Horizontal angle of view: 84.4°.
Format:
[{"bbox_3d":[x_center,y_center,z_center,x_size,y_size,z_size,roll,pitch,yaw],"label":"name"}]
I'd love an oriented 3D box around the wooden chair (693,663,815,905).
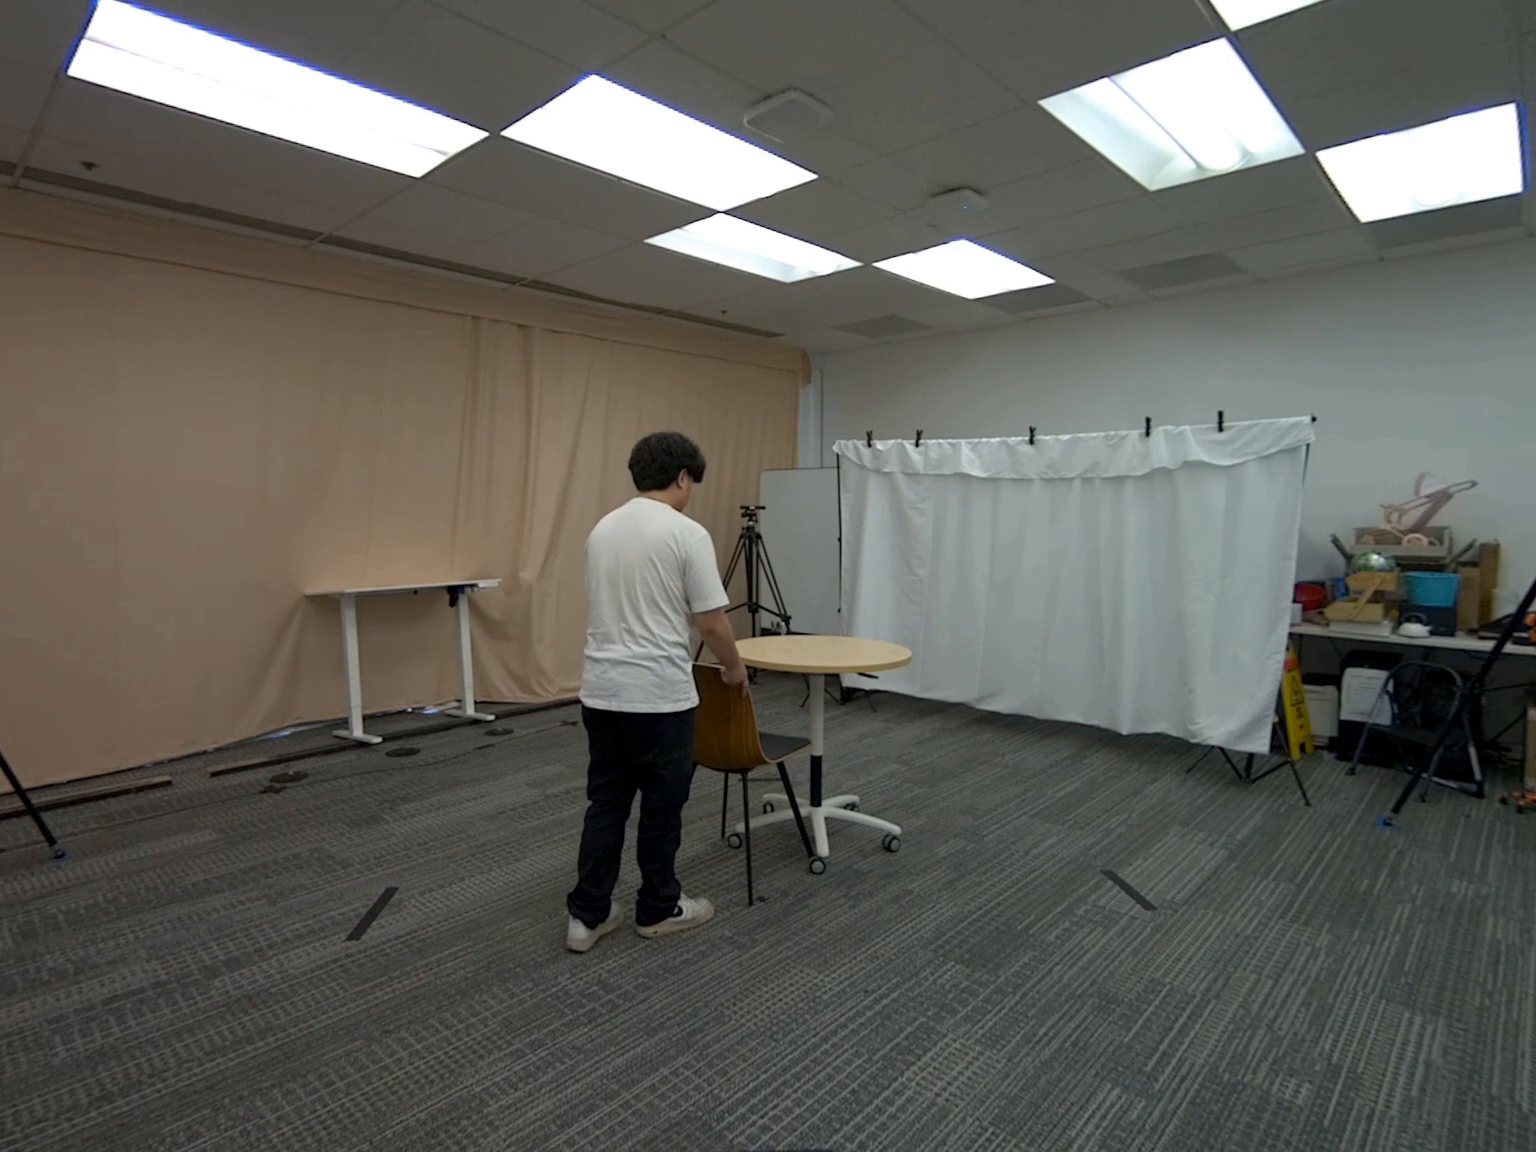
[{"bbox_3d":[-0.119,0.698,3.215,0.493,0.874,0.509,1,8,35],"label":"wooden chair"}]
